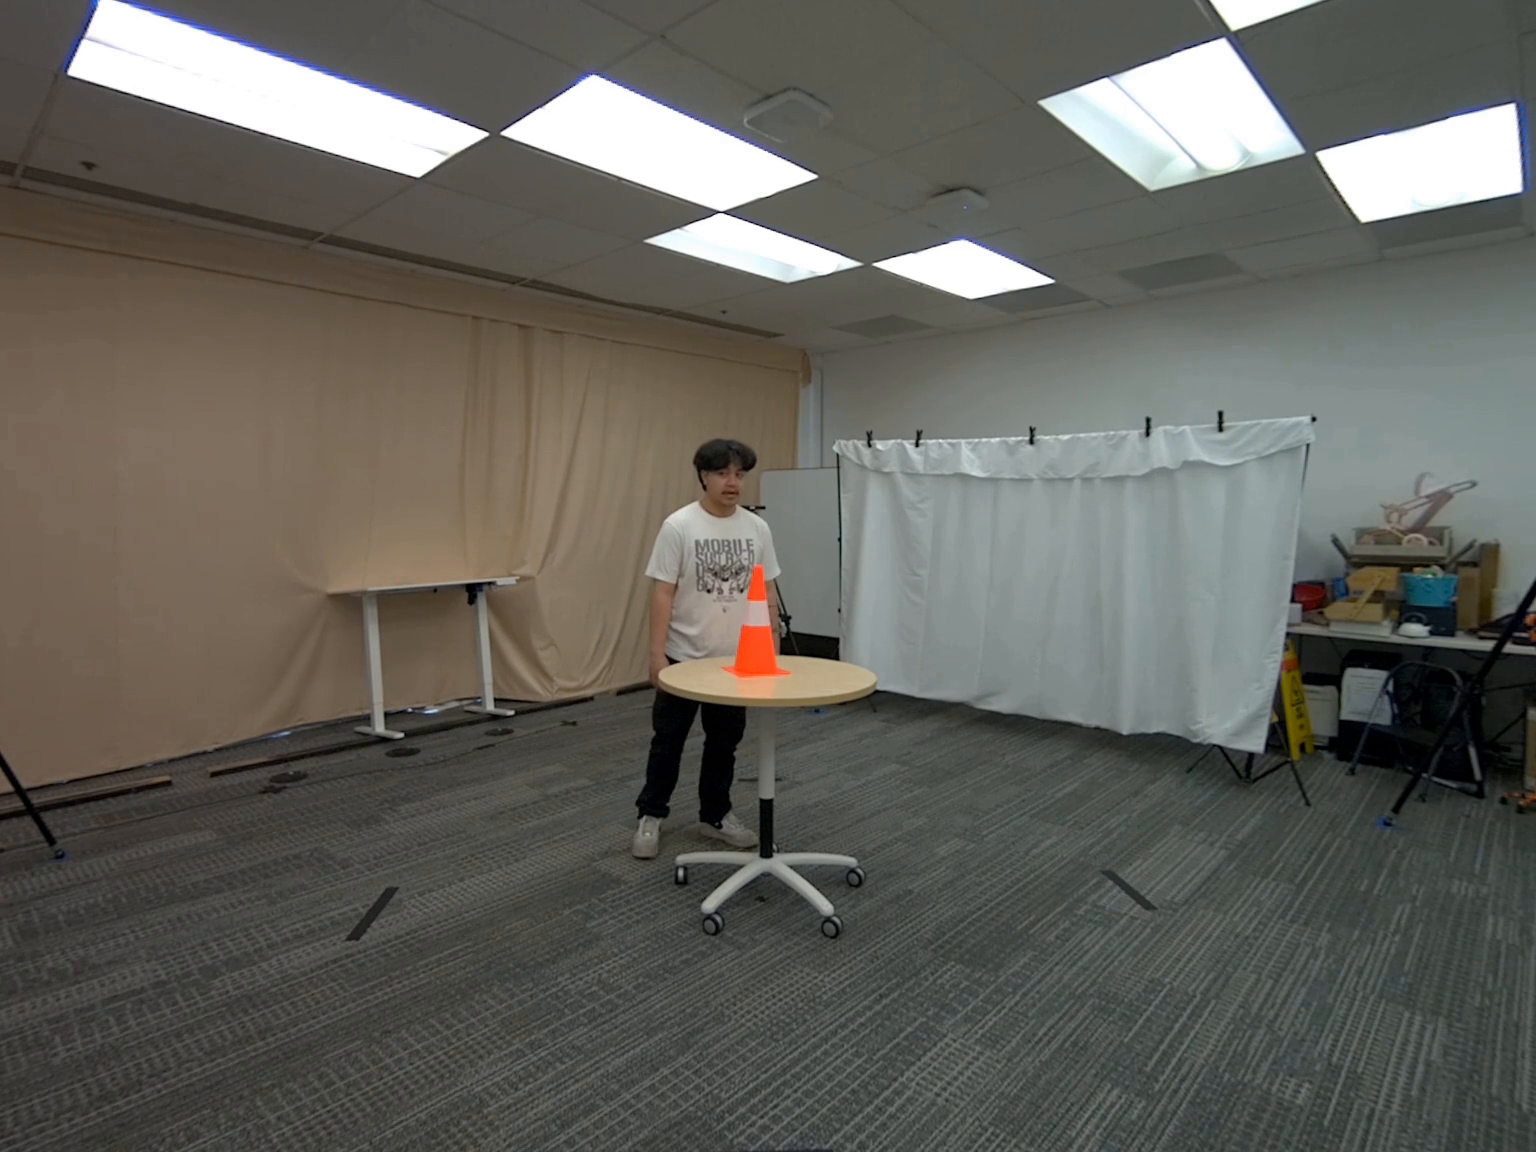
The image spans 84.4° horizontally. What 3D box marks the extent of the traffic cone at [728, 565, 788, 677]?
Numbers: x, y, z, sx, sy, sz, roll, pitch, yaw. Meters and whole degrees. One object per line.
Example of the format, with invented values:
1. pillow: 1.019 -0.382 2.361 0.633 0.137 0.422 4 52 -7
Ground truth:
1. traffic cone: -0.038 0.156 3.037 0.200 0.383 0.209 0 4 -27
